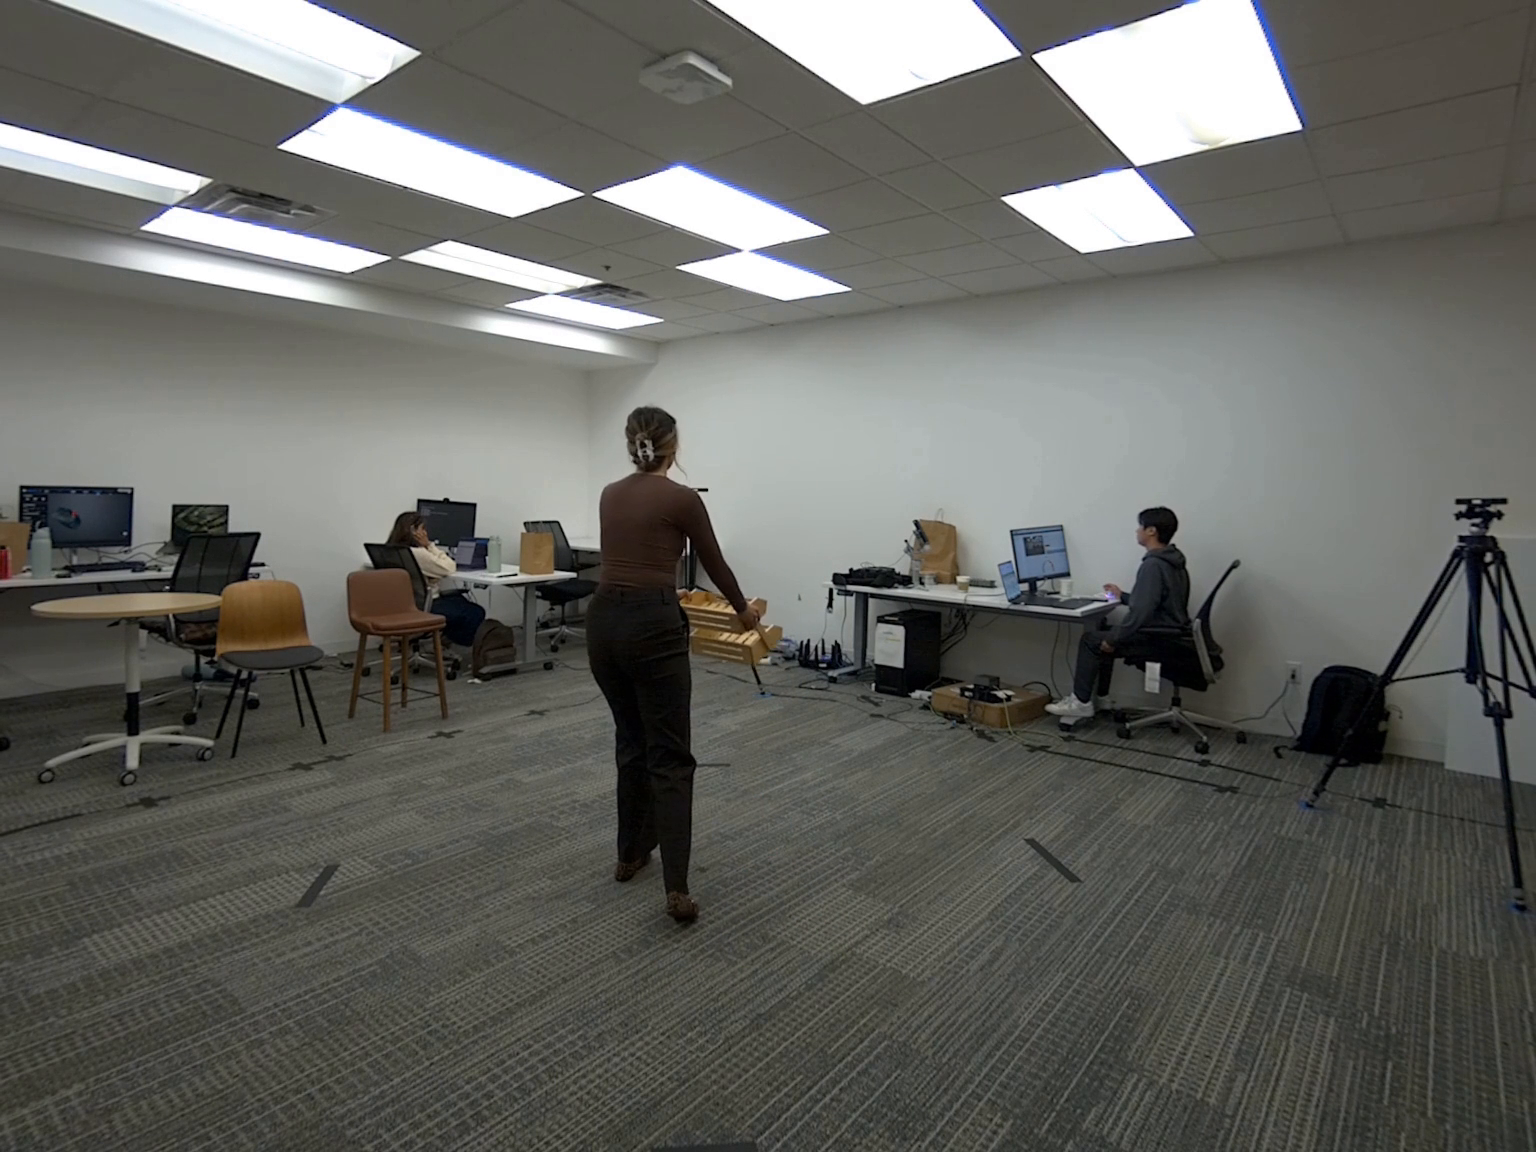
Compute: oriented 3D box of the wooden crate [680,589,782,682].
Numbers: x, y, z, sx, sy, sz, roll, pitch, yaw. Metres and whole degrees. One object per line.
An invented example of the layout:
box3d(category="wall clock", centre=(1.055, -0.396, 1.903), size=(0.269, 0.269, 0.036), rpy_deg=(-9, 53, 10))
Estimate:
box3d(category="wooden crate", centre=(-0.161, 0.184, 3.485), size=(0.335, 0.267, 0.299), rpy_deg=(6, 27, 32))
